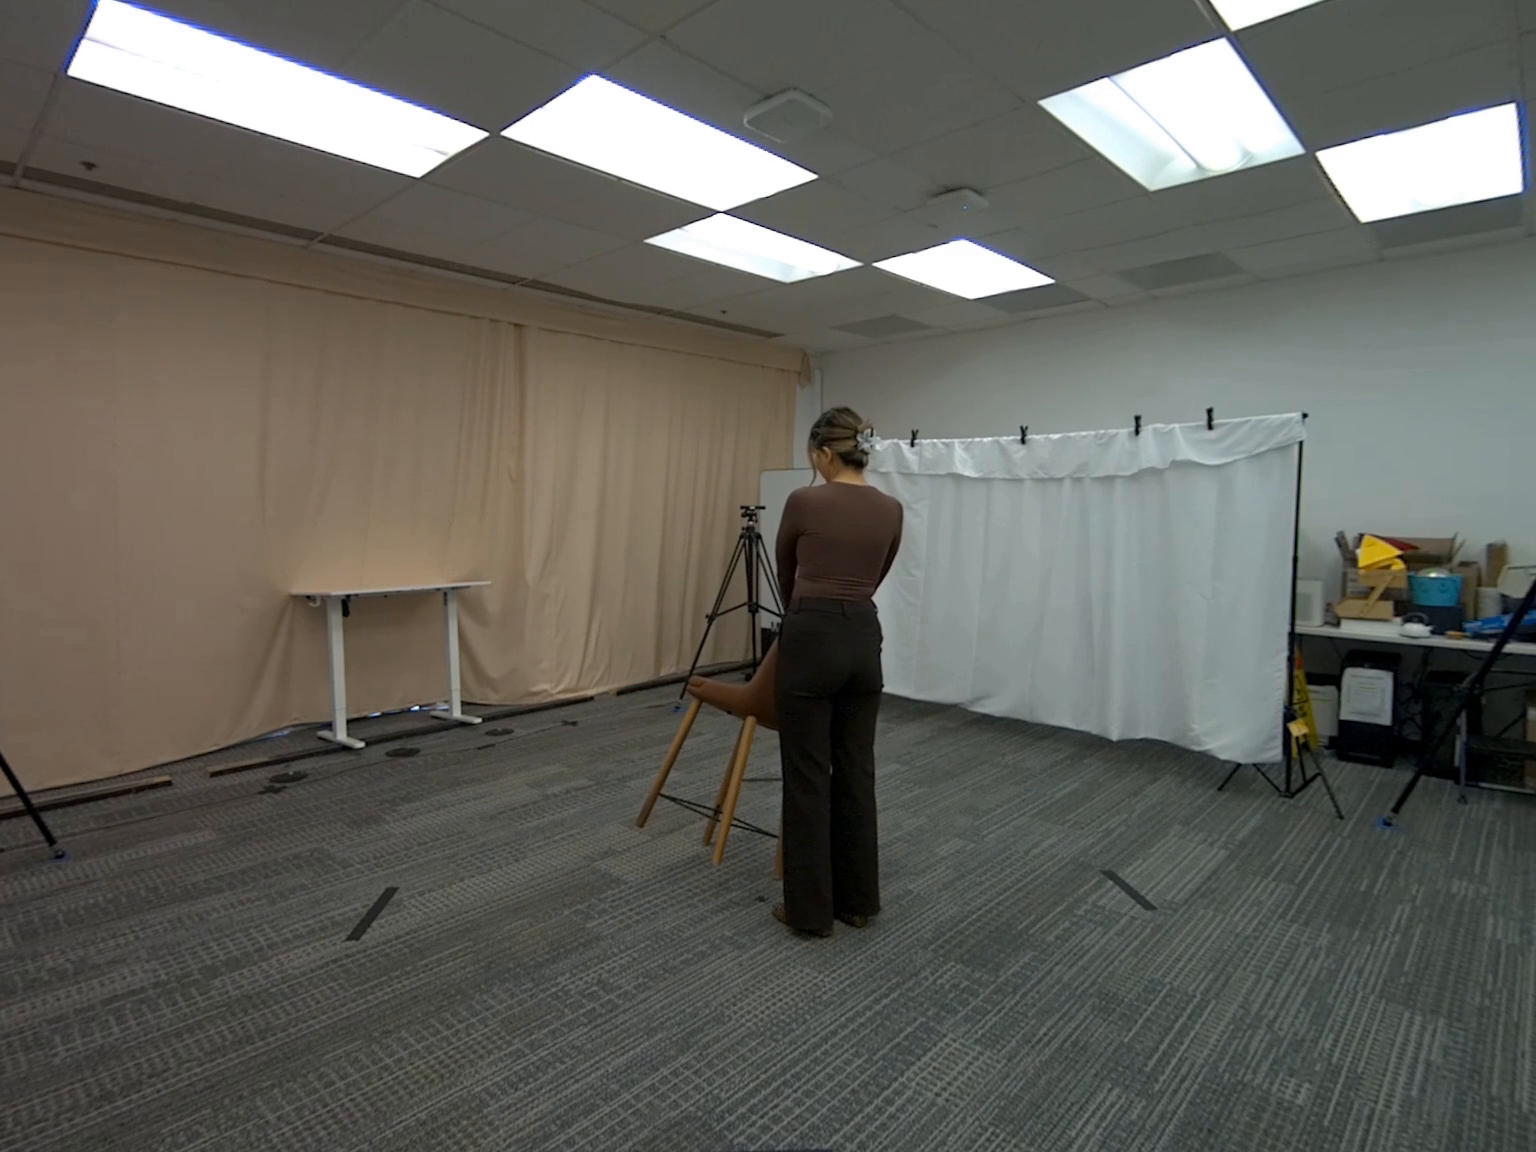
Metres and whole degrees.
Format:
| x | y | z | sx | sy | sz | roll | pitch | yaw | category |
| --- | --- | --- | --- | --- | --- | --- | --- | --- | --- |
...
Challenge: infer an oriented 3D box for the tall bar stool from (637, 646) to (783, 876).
| x | y | z | sx | sy | sz | roll | pitch | yaw | category |
| --- | --- | --- | --- | --- | --- | --- | --- | --- | --- |
| -0.088 | 0.645 | 3.280 | 0.484 | 0.892 | 0.440 | 7 | -16 | 46 | tall bar stool |
